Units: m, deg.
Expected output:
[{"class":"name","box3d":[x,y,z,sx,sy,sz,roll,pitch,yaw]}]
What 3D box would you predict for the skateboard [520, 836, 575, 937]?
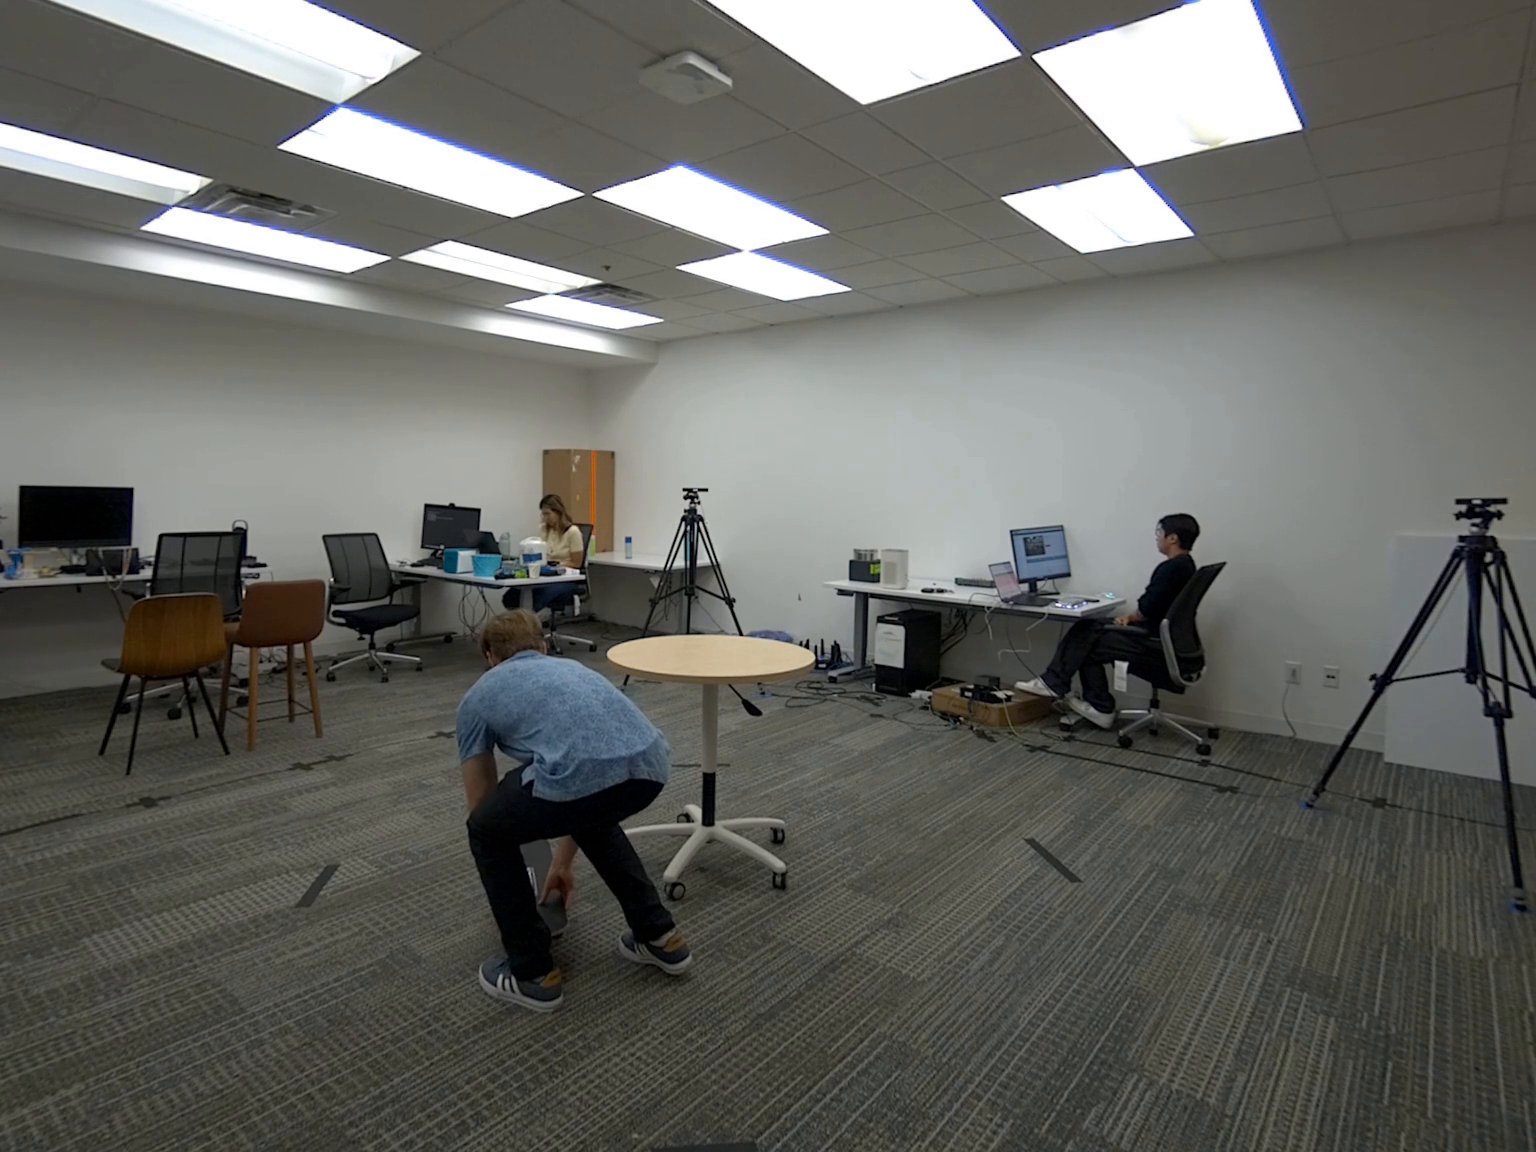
[{"class":"skateboard","box3d":[-0.789,1.036,2.789,0.190,0.110,0.801,-2,7,-16]}]
